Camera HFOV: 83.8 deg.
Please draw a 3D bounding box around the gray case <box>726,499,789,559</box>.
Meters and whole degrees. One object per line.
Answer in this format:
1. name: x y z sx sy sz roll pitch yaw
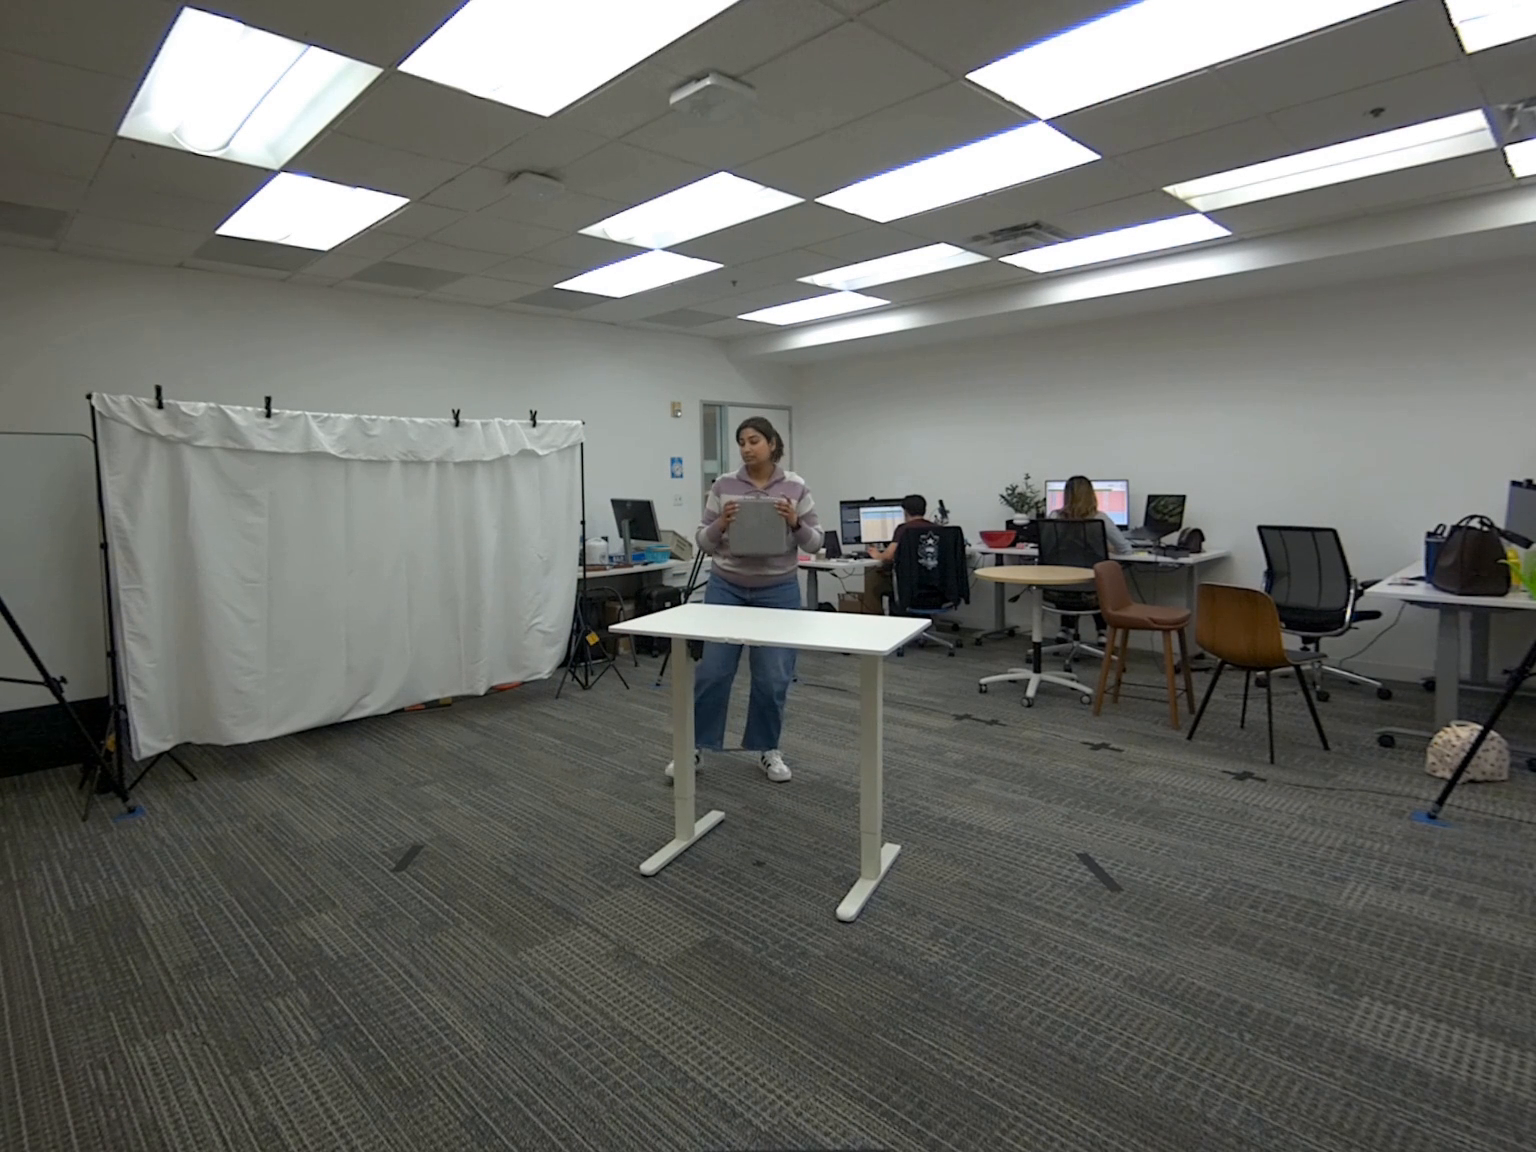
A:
1. gray case: -0.051 -0.212 3.774 0.258 0.260 0.104 0 3 3
